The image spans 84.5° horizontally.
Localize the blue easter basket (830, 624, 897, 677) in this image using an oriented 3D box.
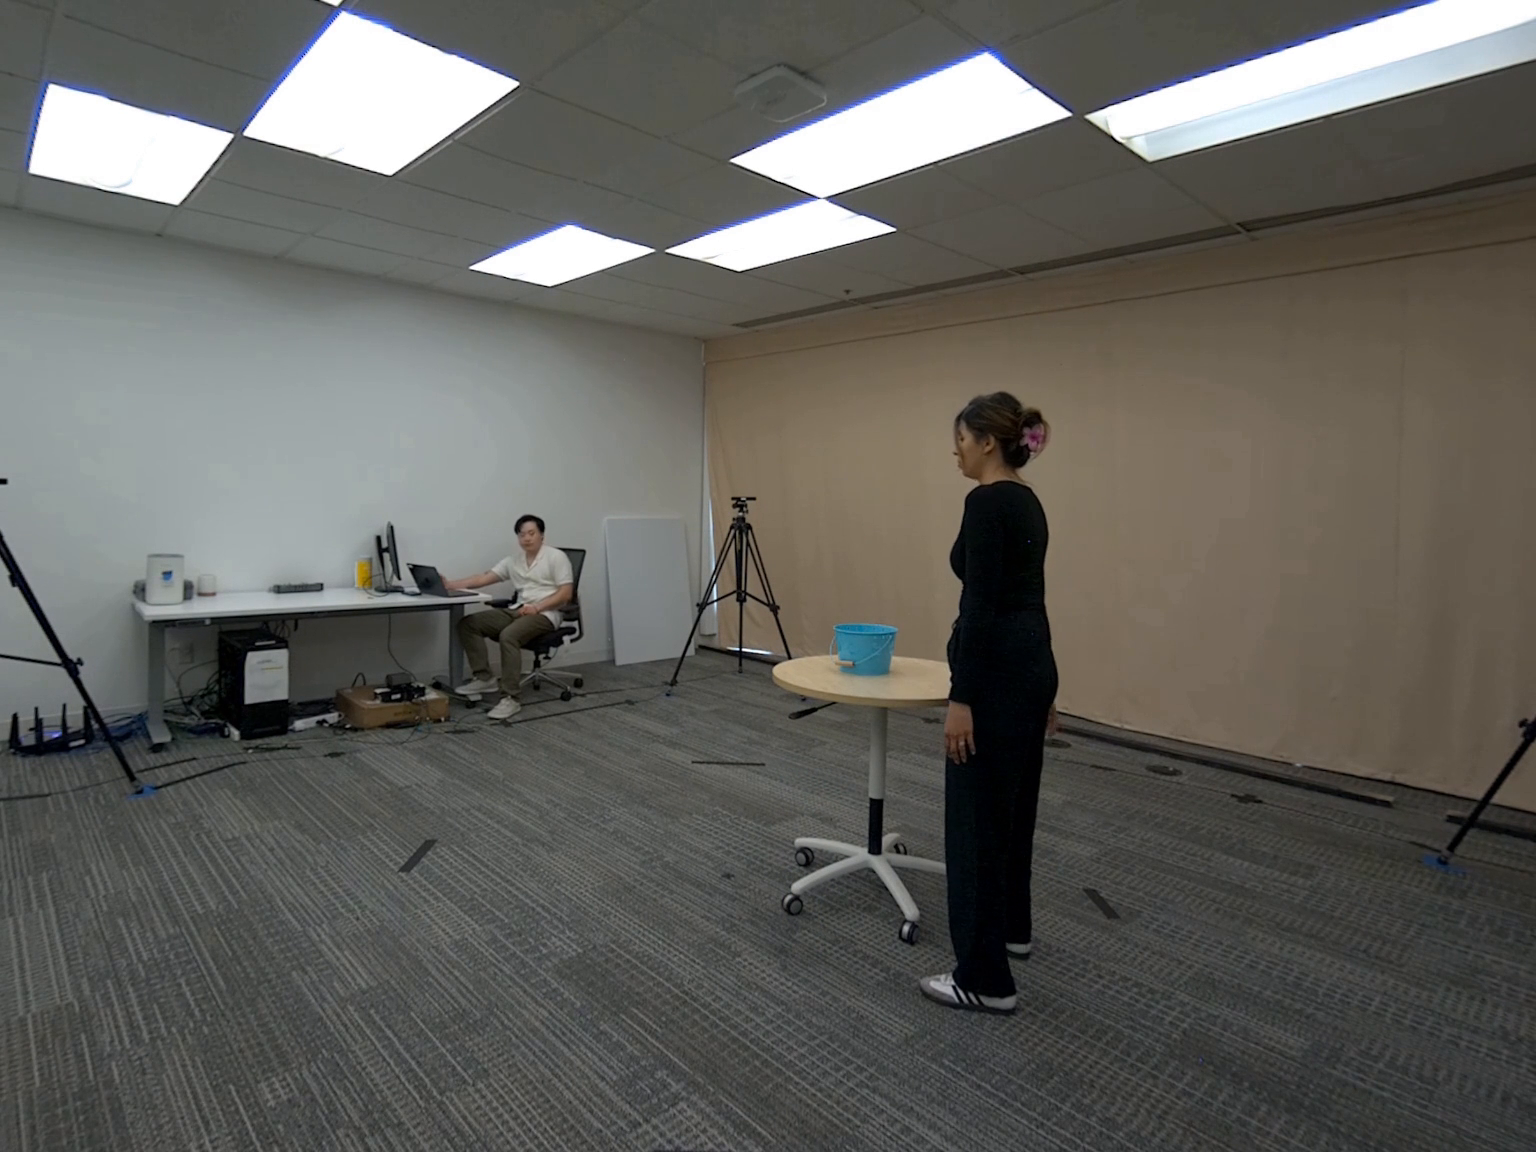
[{"bbox_3d":[0.344,0.270,3.039,0.243,0.155,0.244,2,4,-1],"label":"blue easter basket"}]
